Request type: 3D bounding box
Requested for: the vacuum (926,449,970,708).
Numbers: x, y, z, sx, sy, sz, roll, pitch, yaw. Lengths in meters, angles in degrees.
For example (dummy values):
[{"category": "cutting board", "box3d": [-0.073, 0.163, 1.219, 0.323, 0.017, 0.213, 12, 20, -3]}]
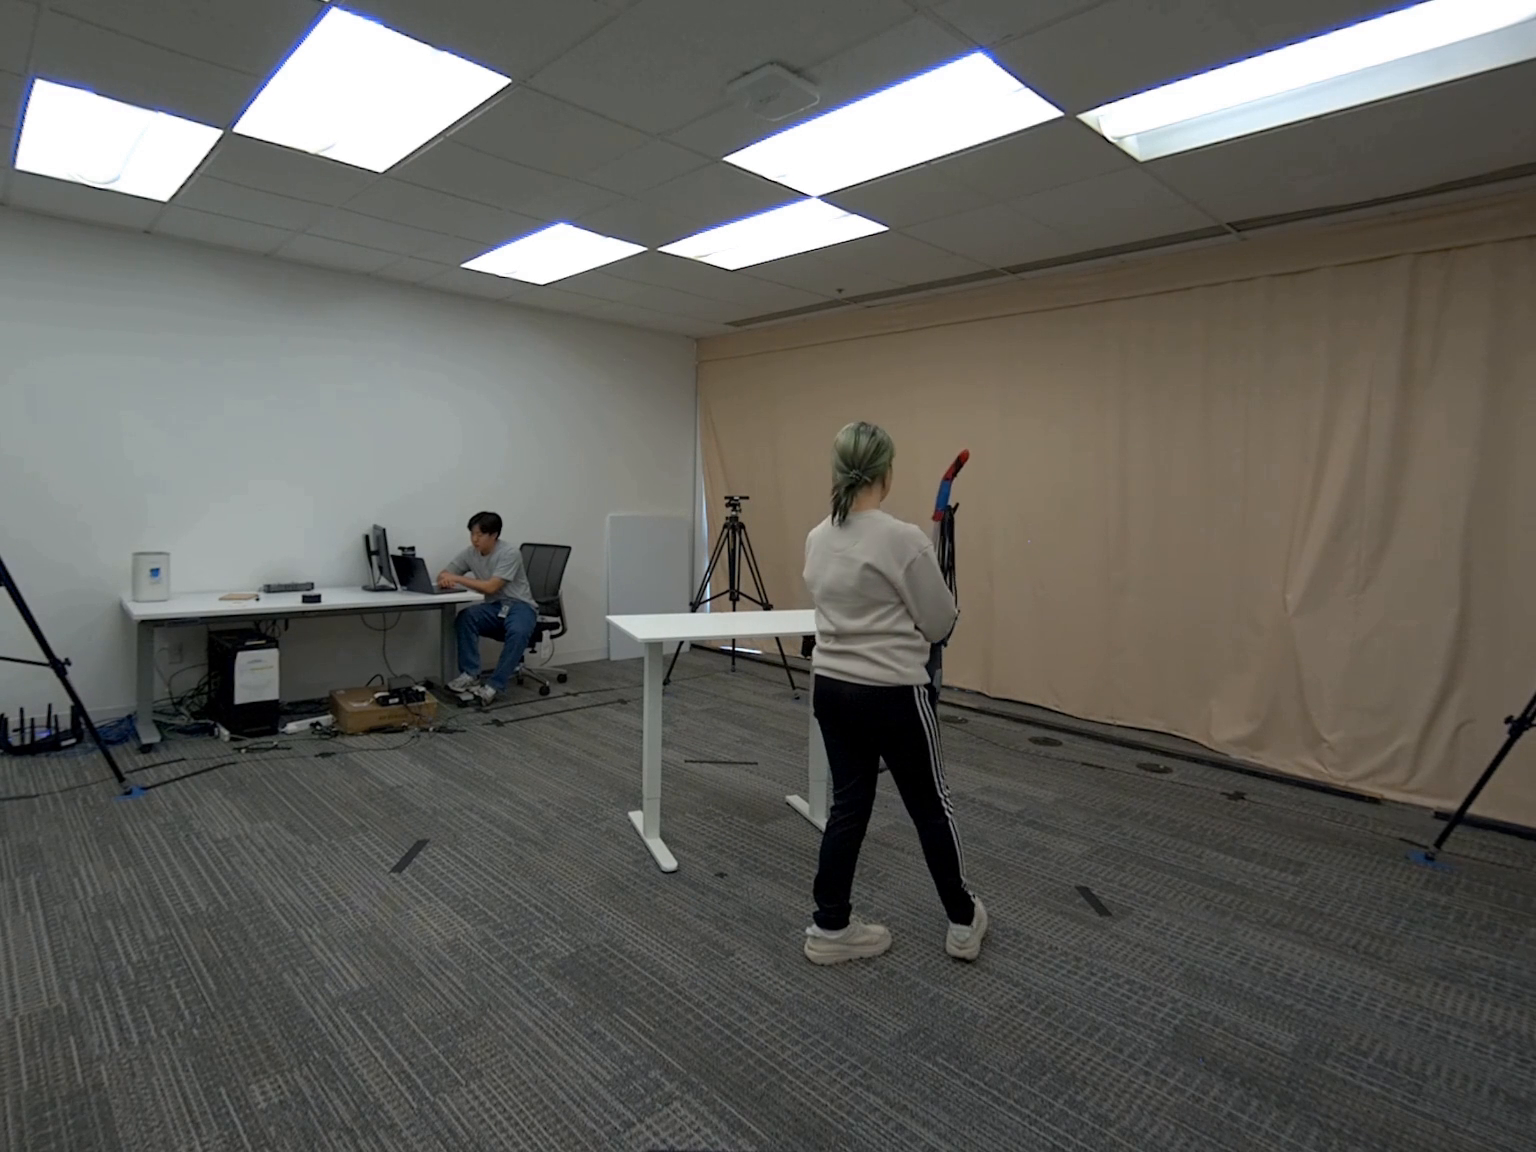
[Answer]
[{"category": "vacuum", "box3d": [0.533, 0.135, 2.690, 0.247, 1.040, 0.148, -6, 20, -45]}]
